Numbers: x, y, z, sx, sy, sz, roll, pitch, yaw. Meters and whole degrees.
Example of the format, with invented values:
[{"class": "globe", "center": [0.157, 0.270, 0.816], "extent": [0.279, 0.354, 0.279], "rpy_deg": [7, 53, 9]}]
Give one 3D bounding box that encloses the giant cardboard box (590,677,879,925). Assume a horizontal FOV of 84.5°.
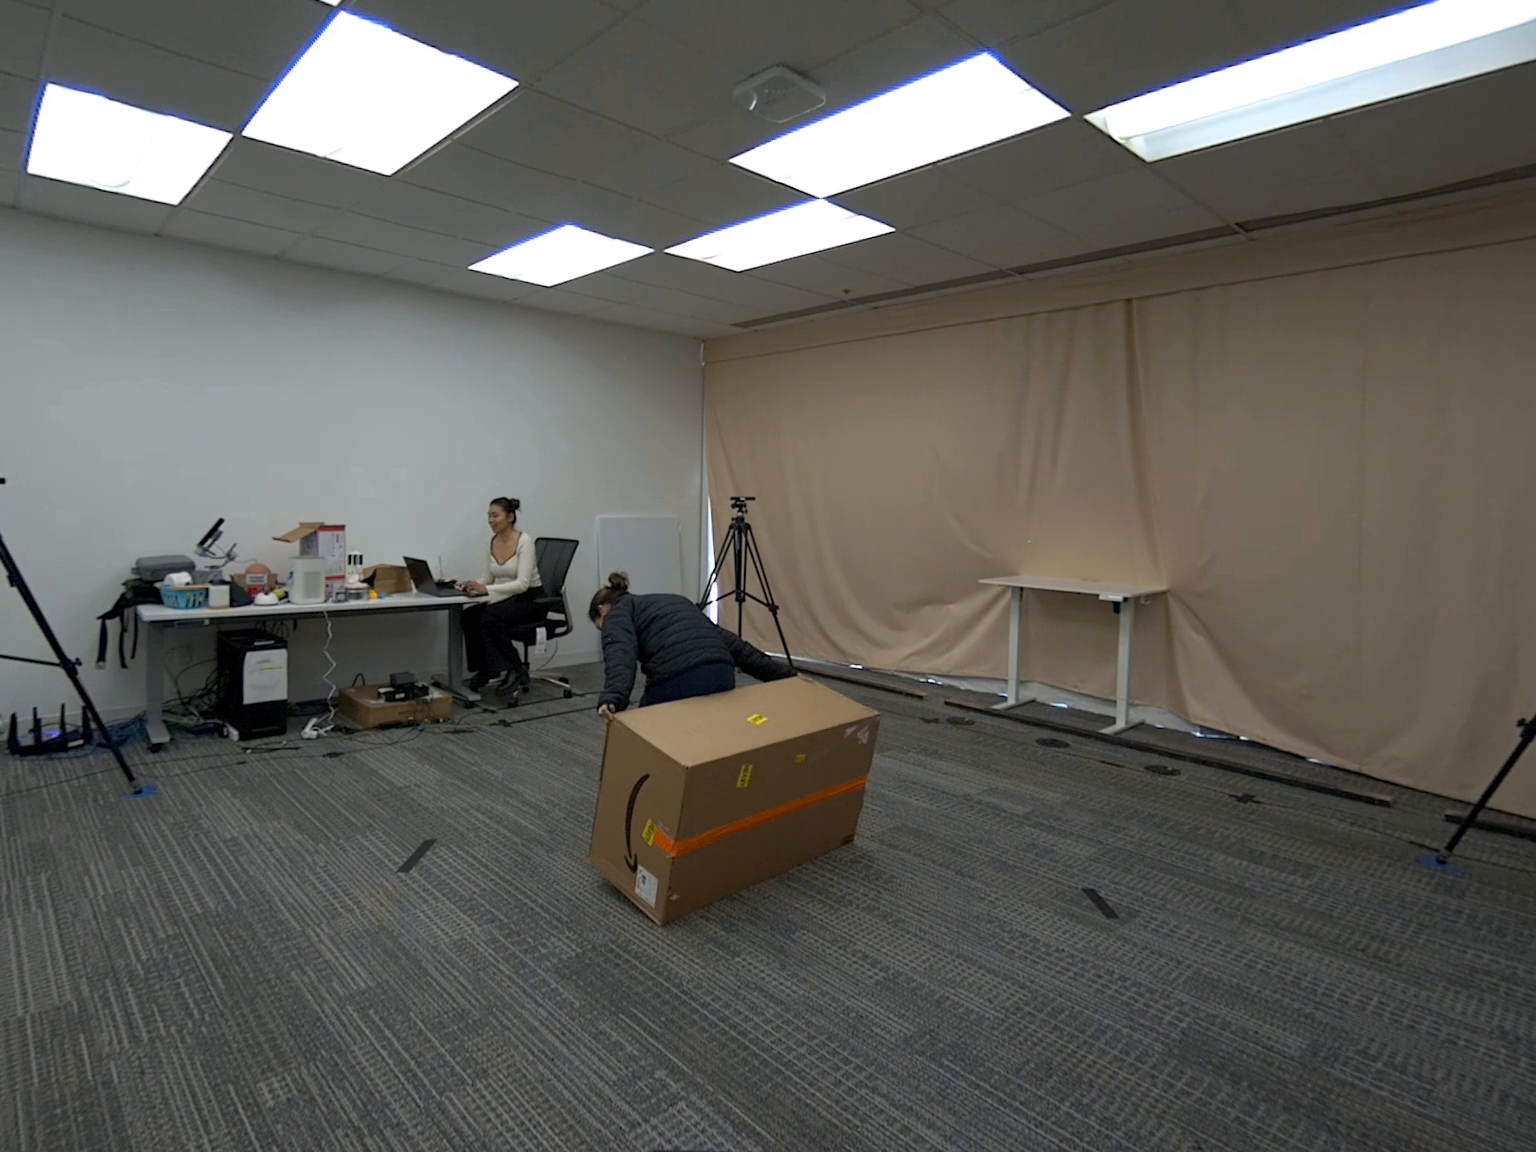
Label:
[{"class": "giant cardboard box", "center": [-0.095, 0.789, 3.146], "extent": [0.439, 0.573, 1.003], "rpy_deg": [19, 16, 41]}]
